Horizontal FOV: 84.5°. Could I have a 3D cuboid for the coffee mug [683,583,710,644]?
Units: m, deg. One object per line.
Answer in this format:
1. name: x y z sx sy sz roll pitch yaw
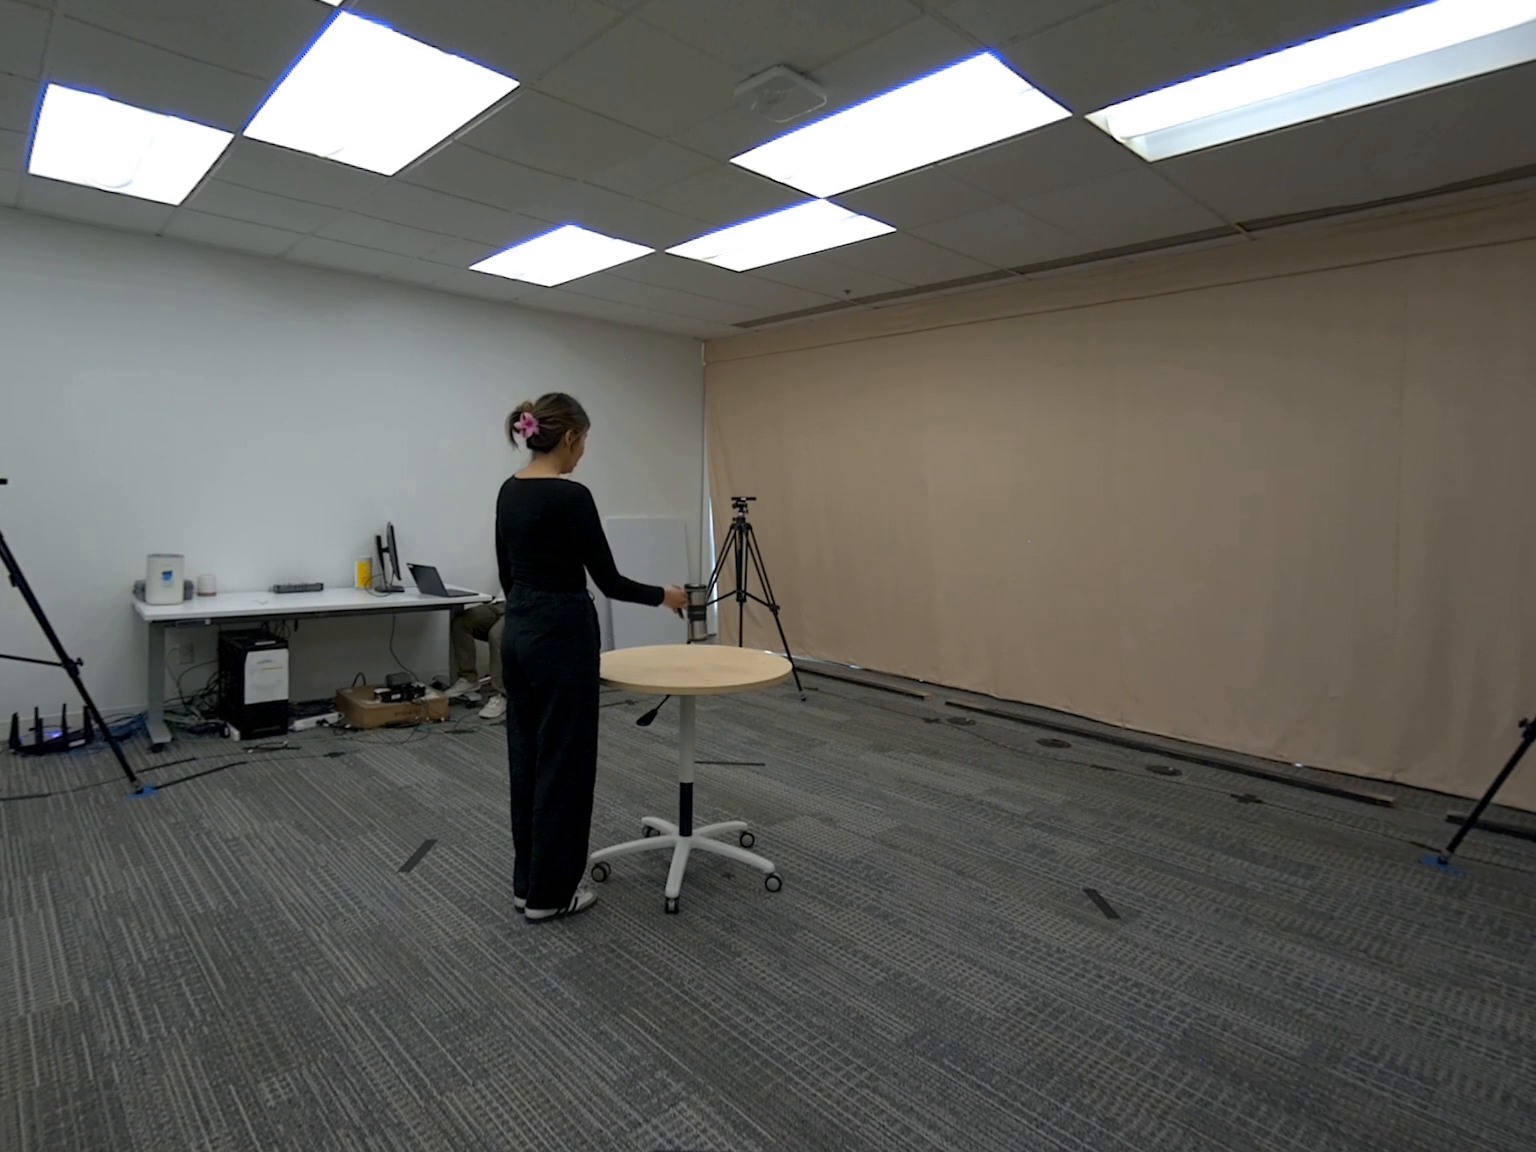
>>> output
1. coffee mug: -0.292 0.130 3.013 0.123 0.202 0.087 3 7 16
